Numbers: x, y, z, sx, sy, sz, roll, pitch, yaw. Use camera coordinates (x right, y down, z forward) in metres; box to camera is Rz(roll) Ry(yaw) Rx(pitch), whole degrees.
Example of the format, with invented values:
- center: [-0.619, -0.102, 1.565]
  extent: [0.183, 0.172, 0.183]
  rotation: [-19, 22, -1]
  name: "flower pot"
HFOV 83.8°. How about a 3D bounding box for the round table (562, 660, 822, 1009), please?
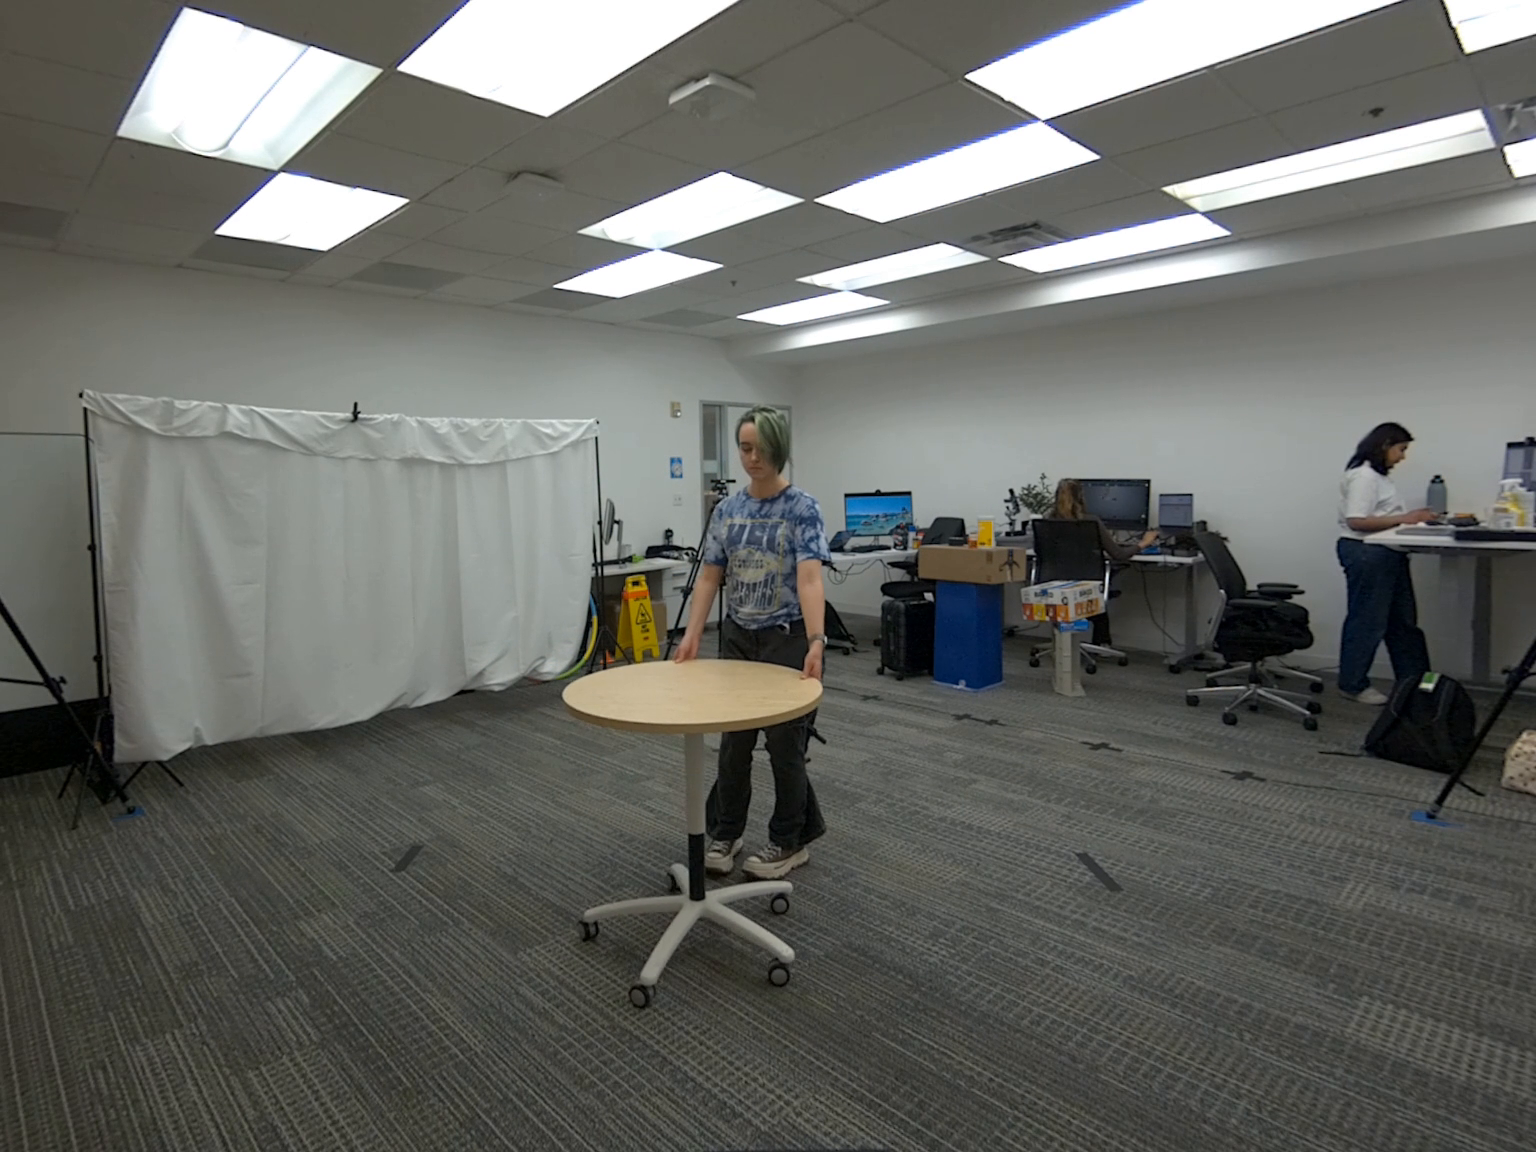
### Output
- center: [-0.215, 0.724, 2.566]
  extent: [0.763, 0.790, 0.768]
  rotation: [-1, 5, -2]
  name: "round table"
